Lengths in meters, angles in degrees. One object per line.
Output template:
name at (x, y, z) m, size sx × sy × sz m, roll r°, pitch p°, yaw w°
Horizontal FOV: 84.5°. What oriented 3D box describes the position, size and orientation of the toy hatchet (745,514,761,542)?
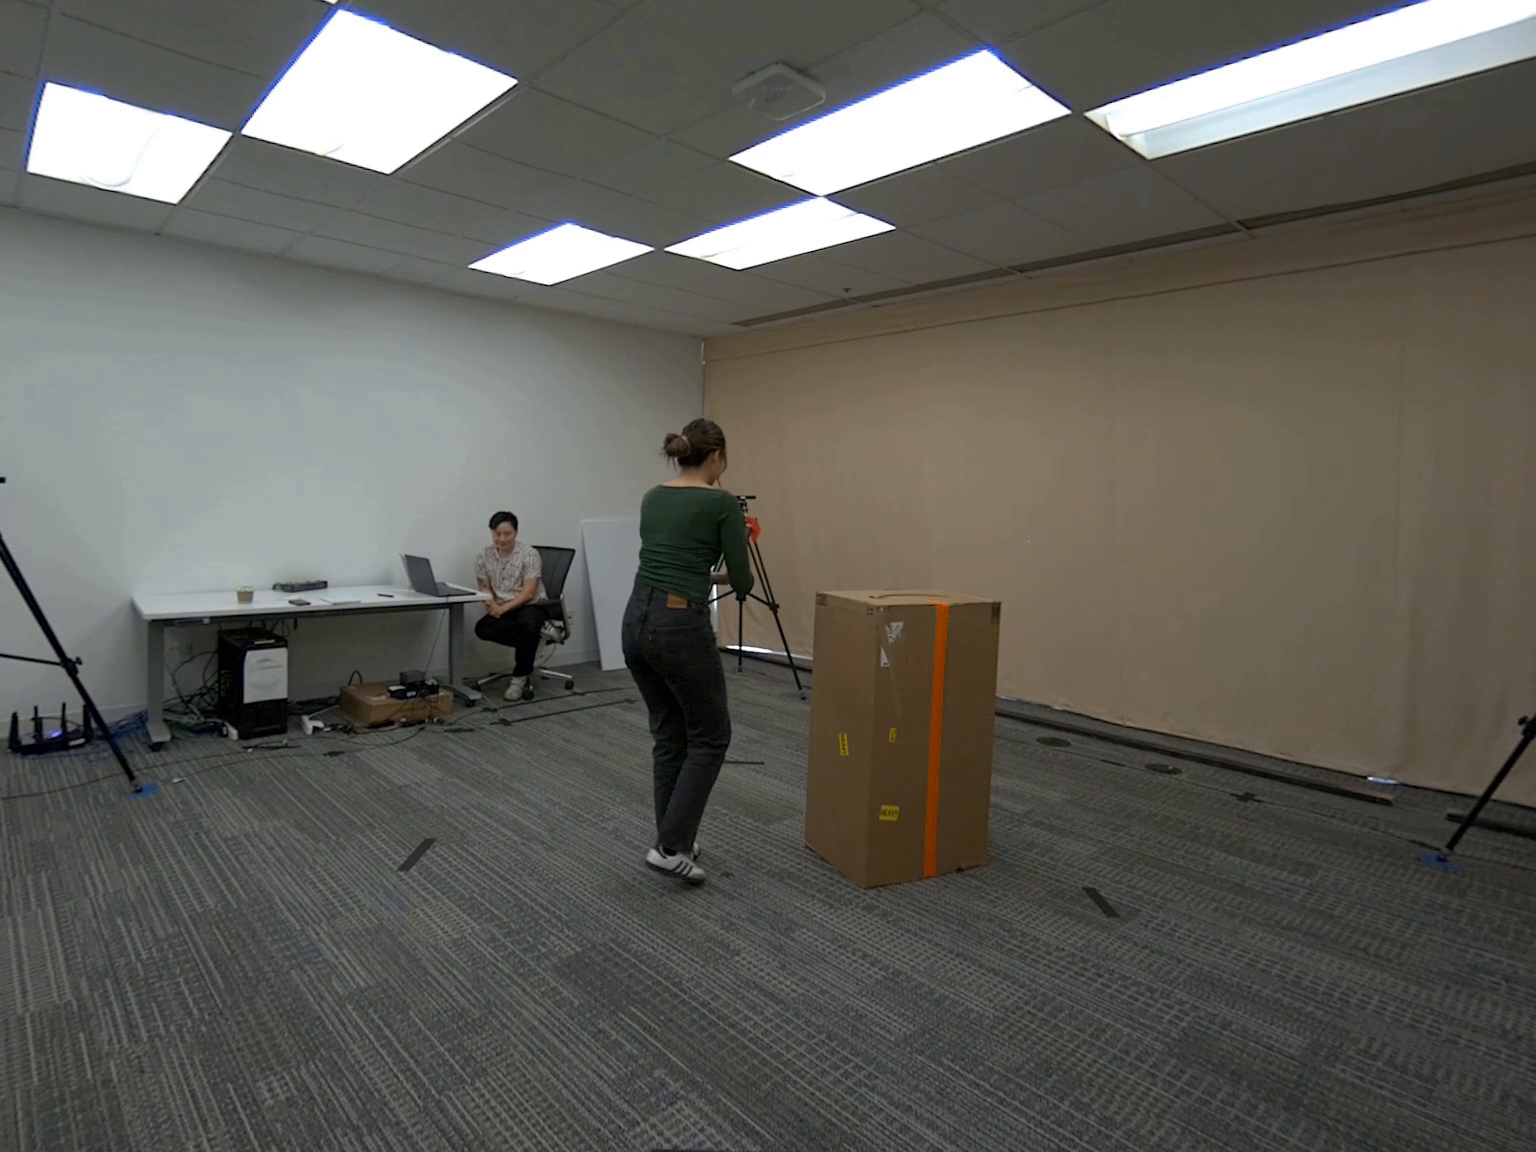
toy hatchet at (-0.093, -0.104, 3.382) m, size 0.030 × 0.270 × 0.127 m, roll 14°, pitch -3°, yaw 29°
